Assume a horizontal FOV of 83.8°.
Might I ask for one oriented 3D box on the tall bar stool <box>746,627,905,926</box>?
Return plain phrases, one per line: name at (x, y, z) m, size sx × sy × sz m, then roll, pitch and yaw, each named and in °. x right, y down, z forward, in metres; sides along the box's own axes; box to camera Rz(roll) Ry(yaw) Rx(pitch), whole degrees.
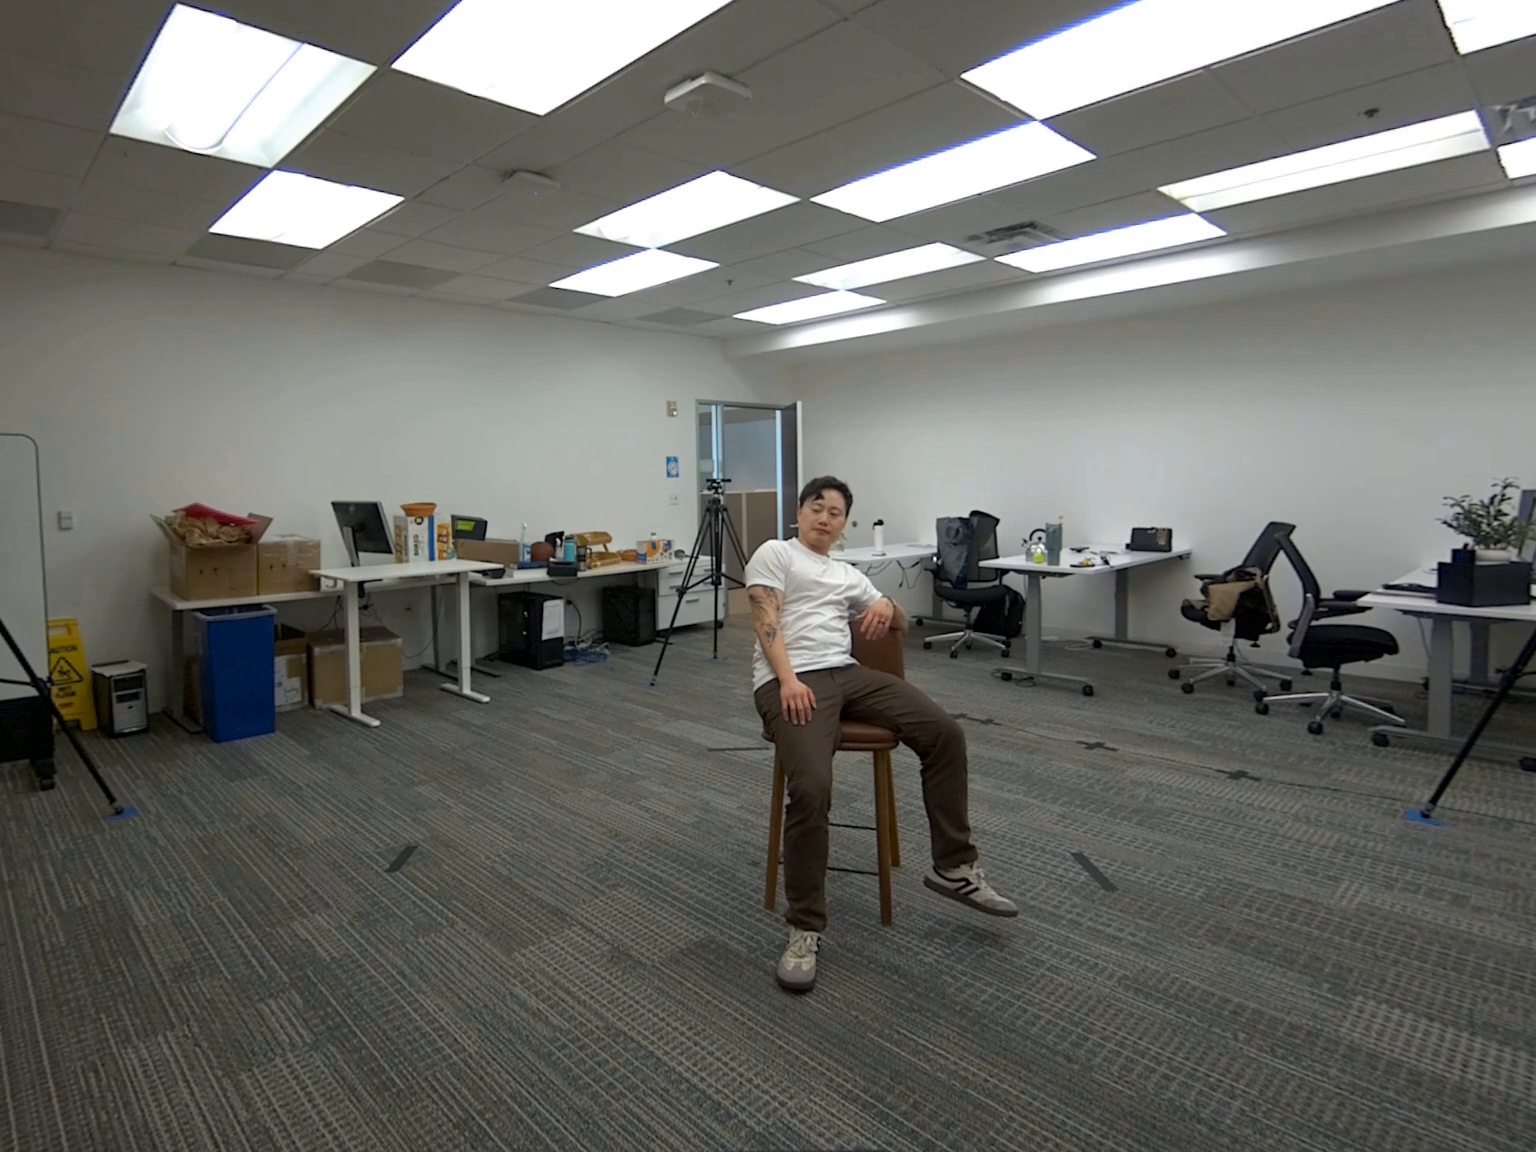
tall bar stool at (0.242, 0.635, 2.904) m, size 0.464 × 0.887 × 0.461 m, roll 1°, pitch 3°, yaw 17°
